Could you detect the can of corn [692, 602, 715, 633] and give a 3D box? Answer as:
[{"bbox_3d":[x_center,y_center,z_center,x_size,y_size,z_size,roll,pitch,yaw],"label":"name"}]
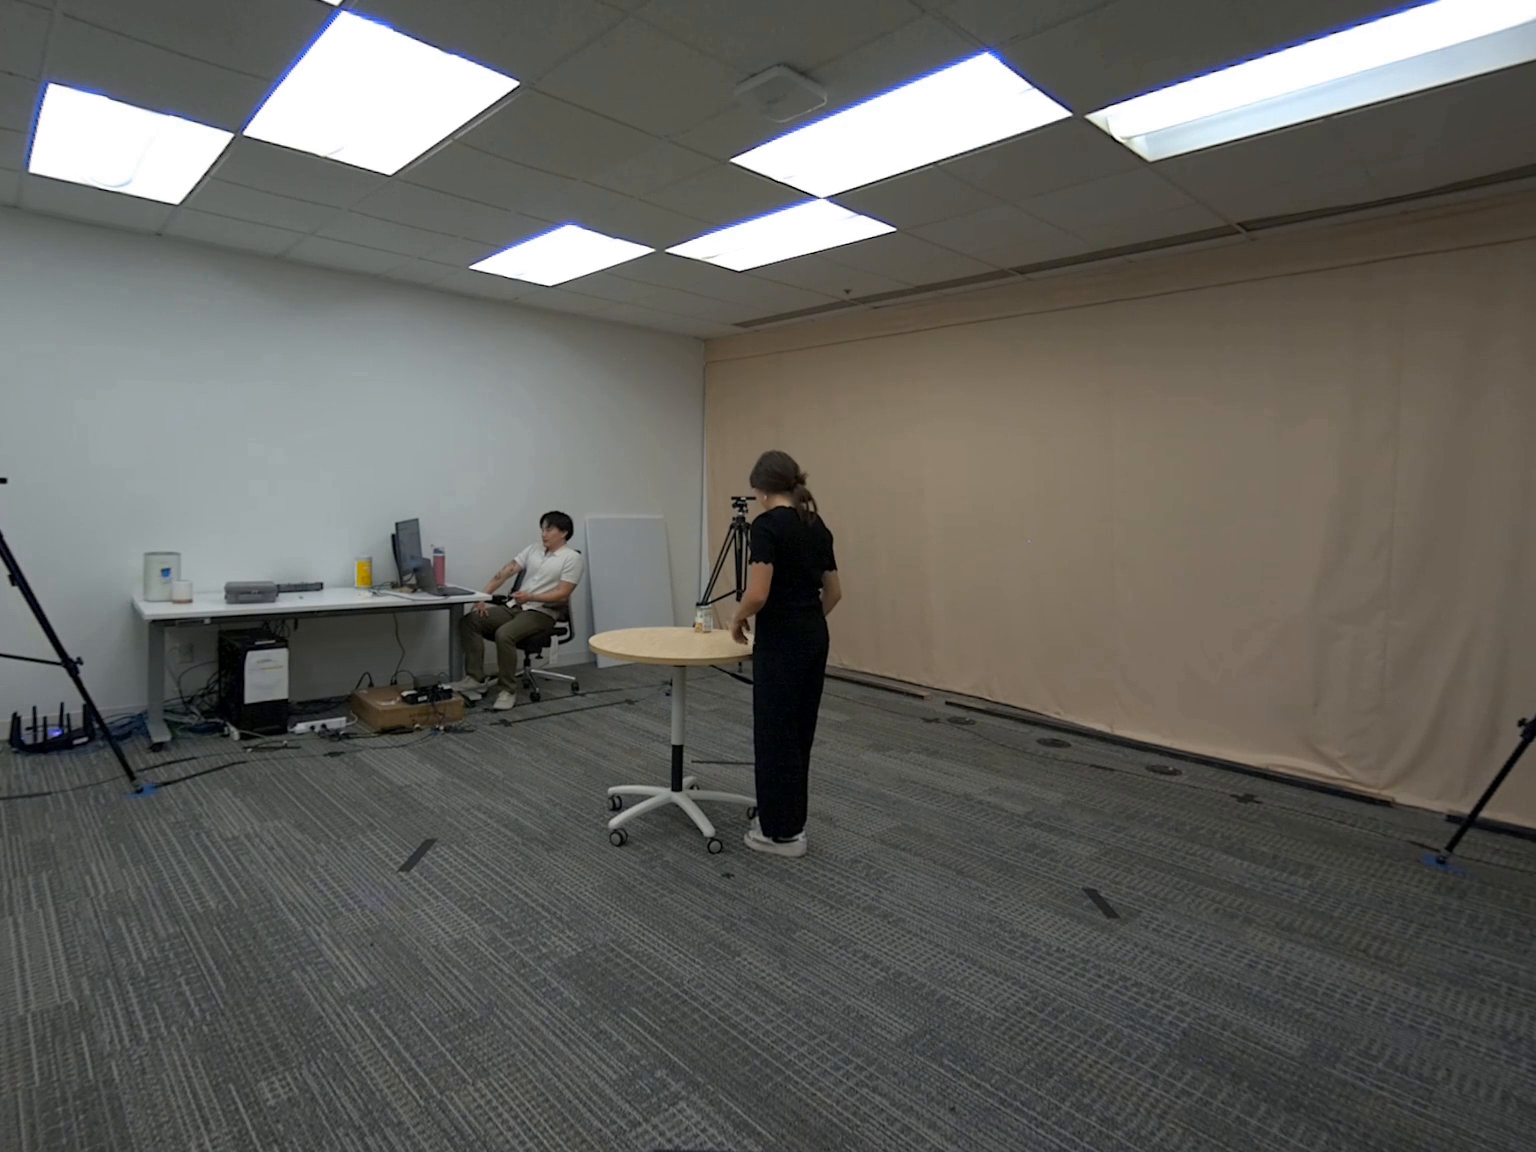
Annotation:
[{"bbox_3d":[-0.297,0.195,3.829,0.074,0.111,0.074,3,4,-2],"label":"can of corn"}]
